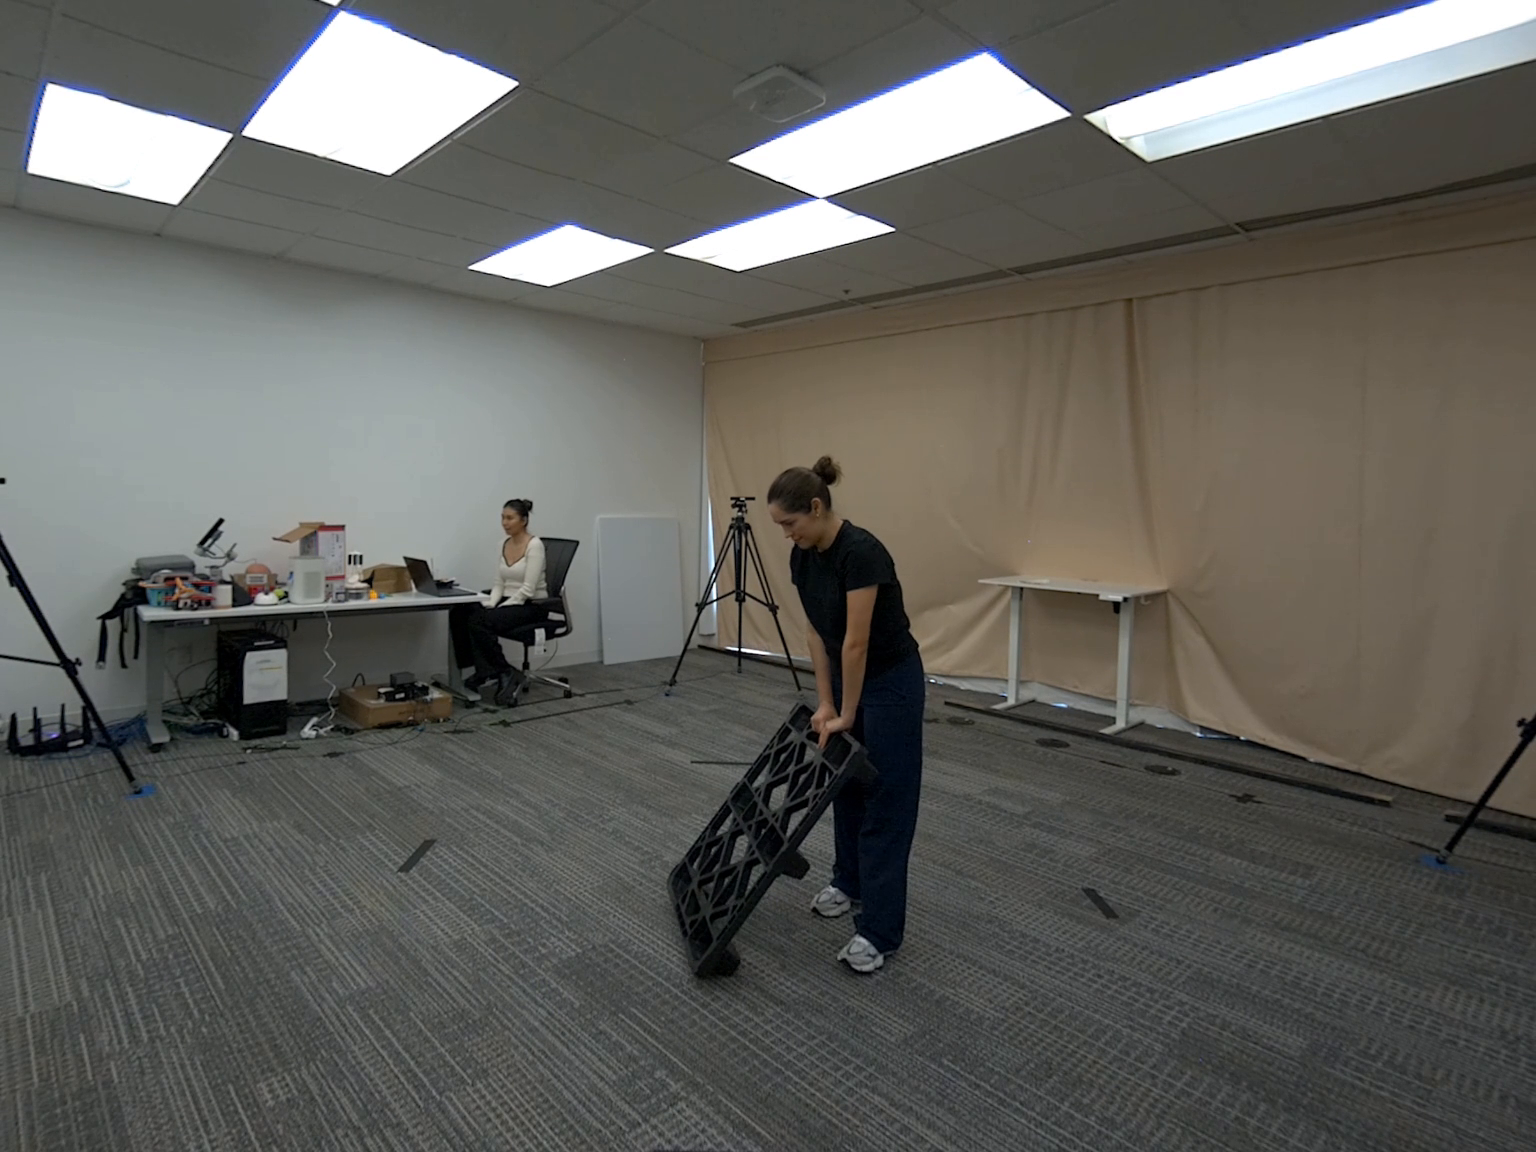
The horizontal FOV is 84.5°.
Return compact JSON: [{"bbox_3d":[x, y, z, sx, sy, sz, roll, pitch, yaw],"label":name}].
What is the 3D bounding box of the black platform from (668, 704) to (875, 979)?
[{"bbox_3d":[-0.001,0.820,2.681,0.141,0.806,0.613,37,-4,-14],"label":"black platform"}]
